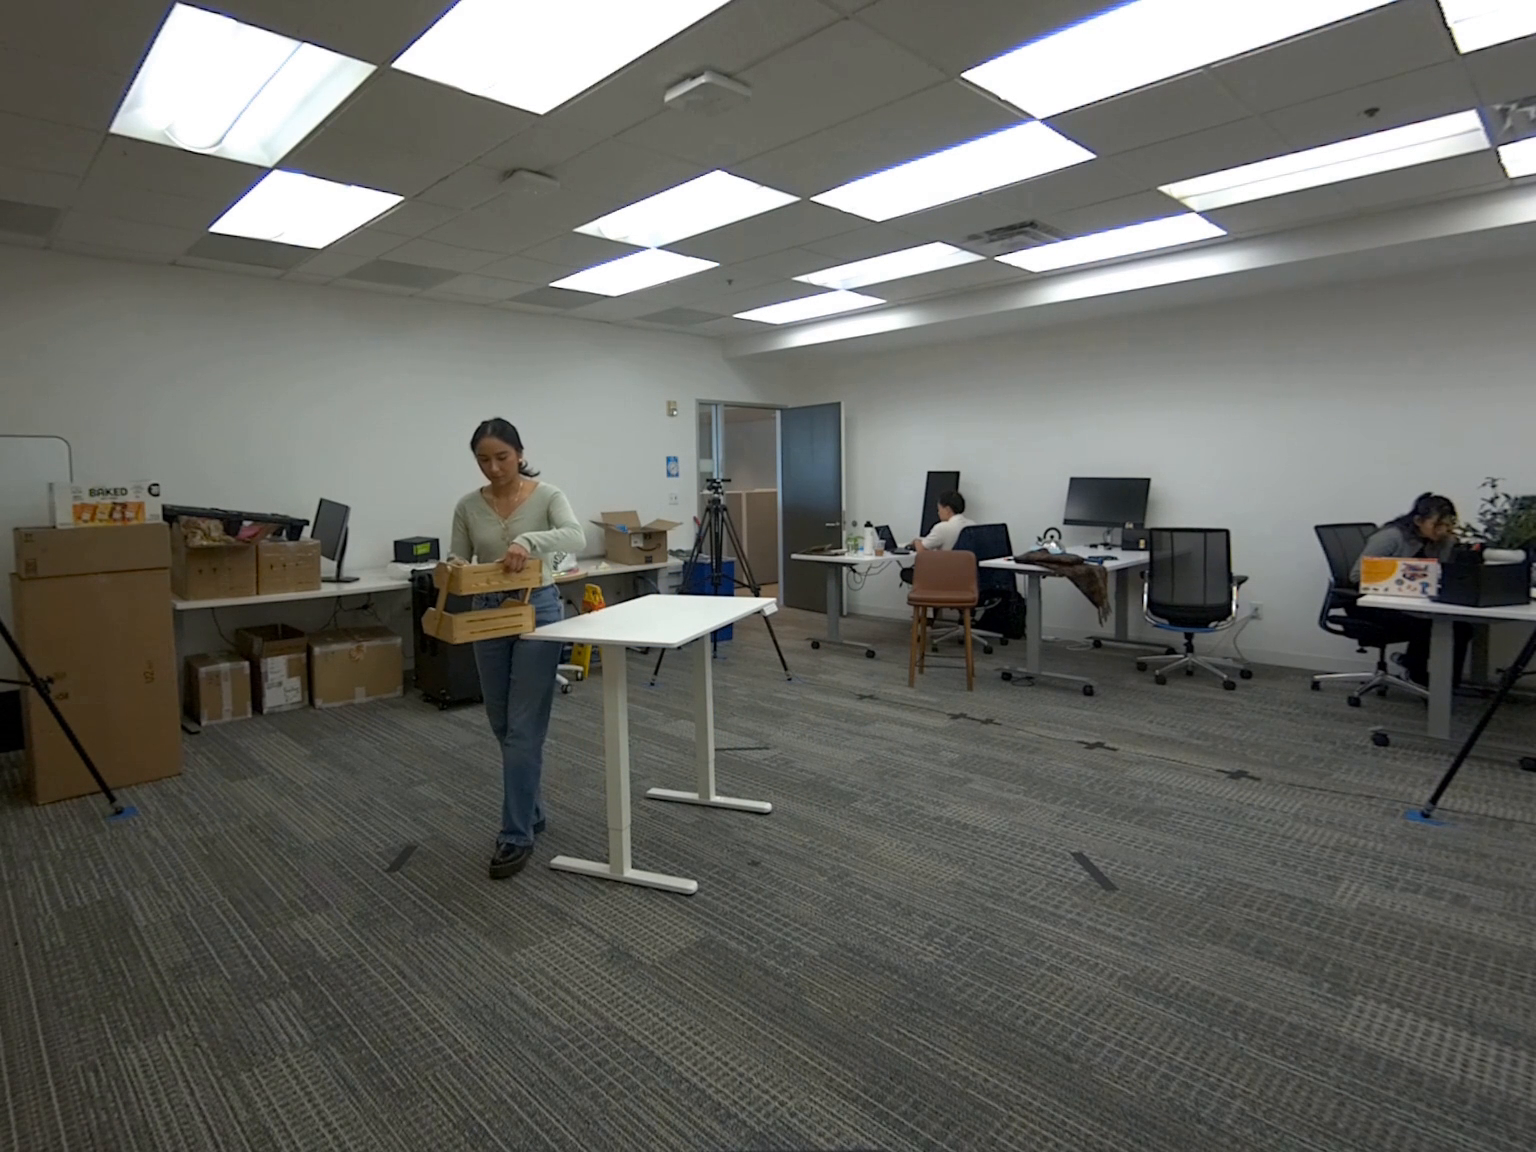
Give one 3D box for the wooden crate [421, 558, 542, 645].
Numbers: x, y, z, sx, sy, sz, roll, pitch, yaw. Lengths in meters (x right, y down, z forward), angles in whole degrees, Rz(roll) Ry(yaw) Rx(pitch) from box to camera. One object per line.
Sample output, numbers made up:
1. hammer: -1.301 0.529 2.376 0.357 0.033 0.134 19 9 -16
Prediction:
1. wooden crate: -0.986 0.069 2.923 0.316 0.272 0.312 -7 10 -44
